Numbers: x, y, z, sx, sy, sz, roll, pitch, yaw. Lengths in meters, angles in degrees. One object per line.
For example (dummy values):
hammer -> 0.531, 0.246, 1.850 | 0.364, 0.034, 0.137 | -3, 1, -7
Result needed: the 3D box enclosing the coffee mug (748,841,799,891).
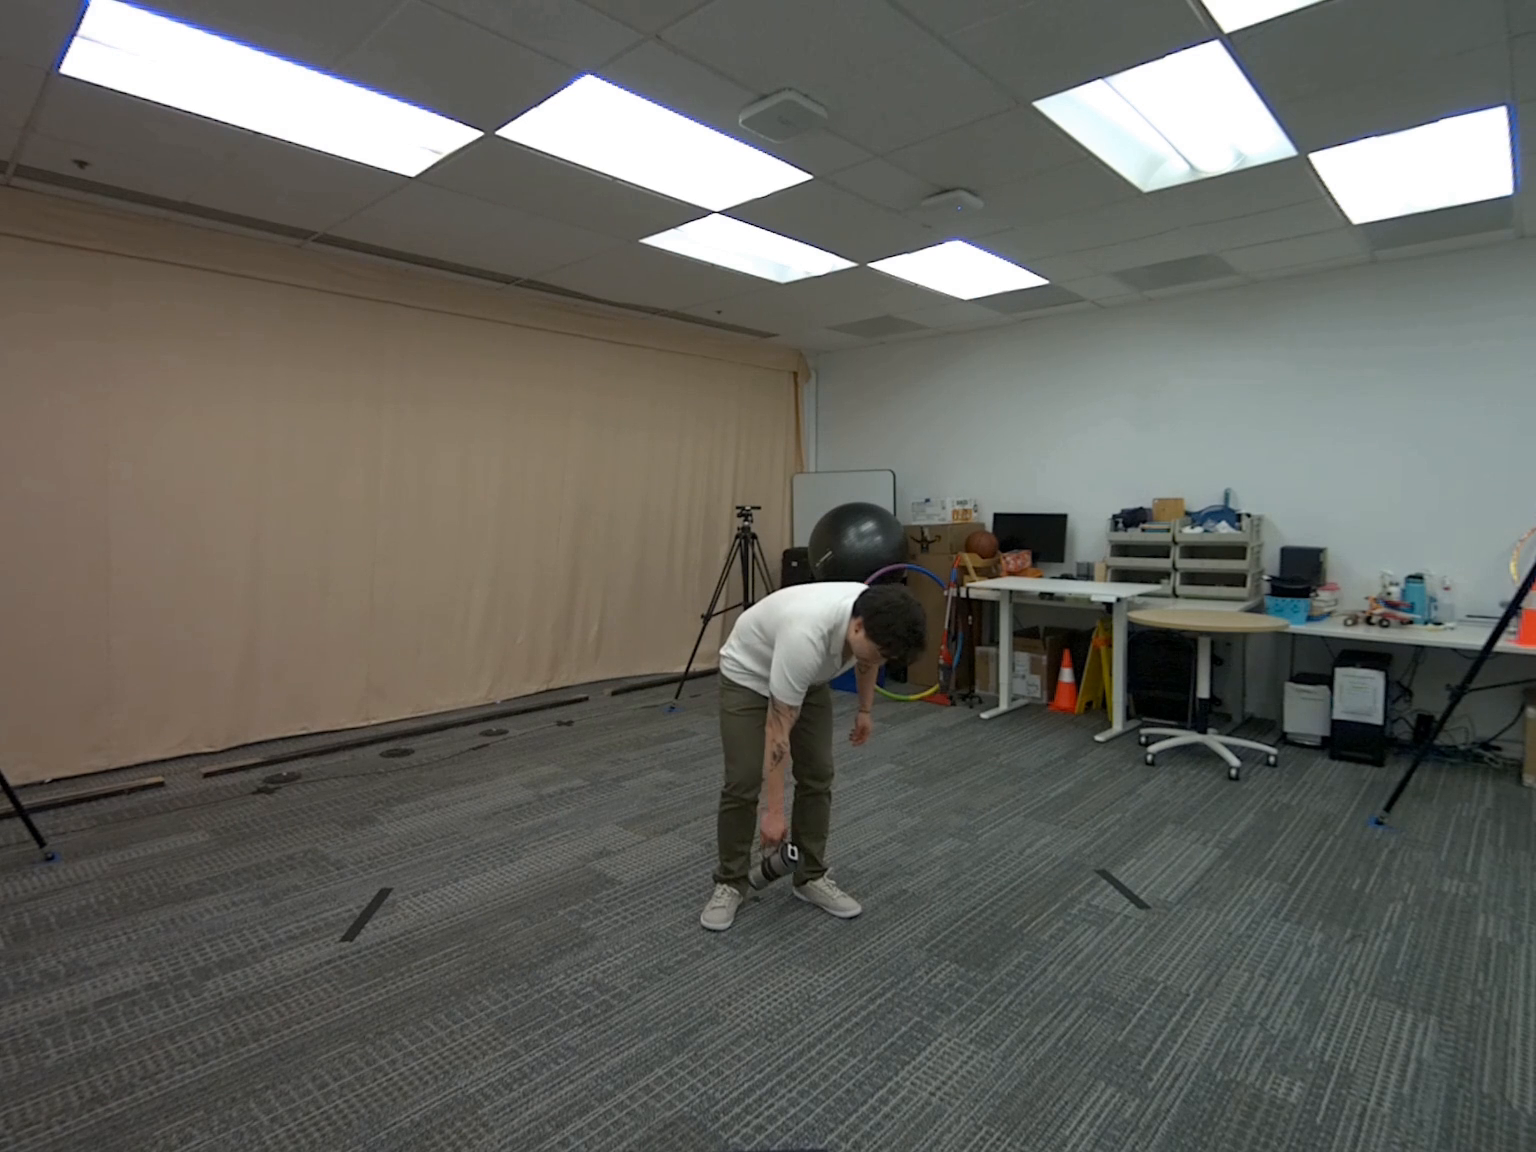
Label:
coffee mug -> 0.014, 0.893, 2.669 | 0.085, 0.125, 0.205 | -3, -31, -42
